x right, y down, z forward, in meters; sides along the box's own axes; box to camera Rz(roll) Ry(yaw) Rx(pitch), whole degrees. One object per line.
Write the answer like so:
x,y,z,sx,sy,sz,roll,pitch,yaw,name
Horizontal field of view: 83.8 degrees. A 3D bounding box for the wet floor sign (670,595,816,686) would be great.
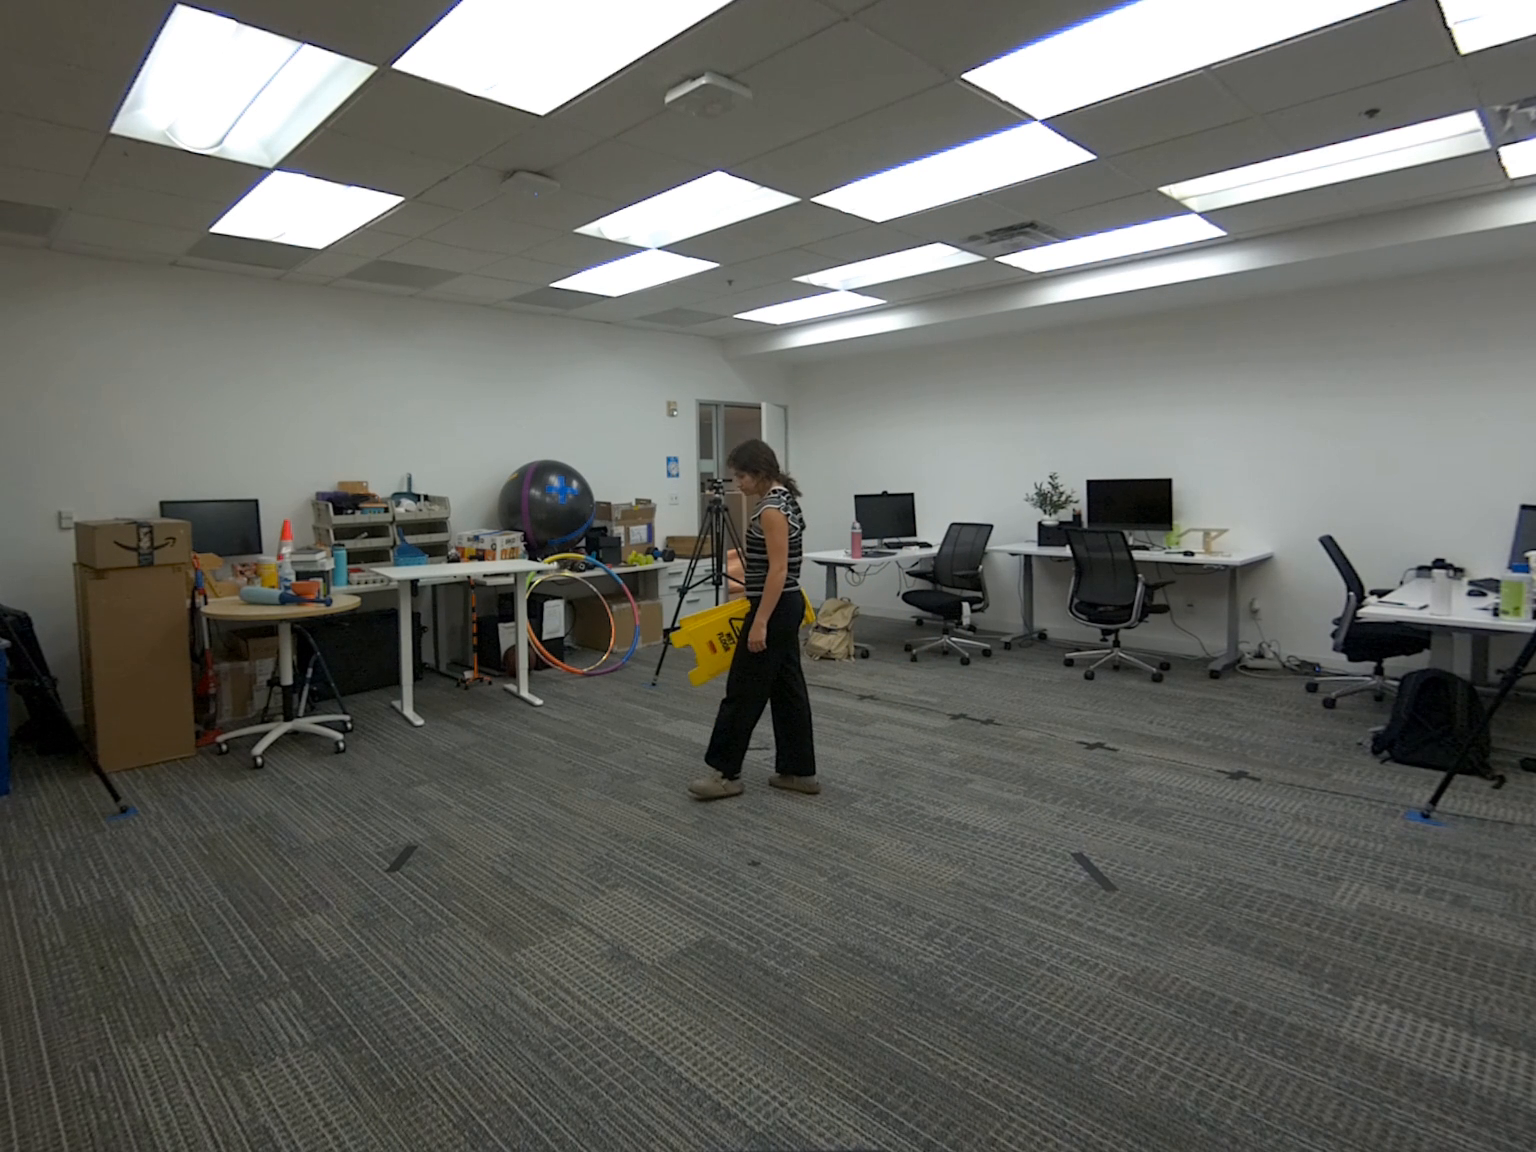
-0.102,0.246,4.077,0.649,0.280,0.290,-24,7,10,wet floor sign
